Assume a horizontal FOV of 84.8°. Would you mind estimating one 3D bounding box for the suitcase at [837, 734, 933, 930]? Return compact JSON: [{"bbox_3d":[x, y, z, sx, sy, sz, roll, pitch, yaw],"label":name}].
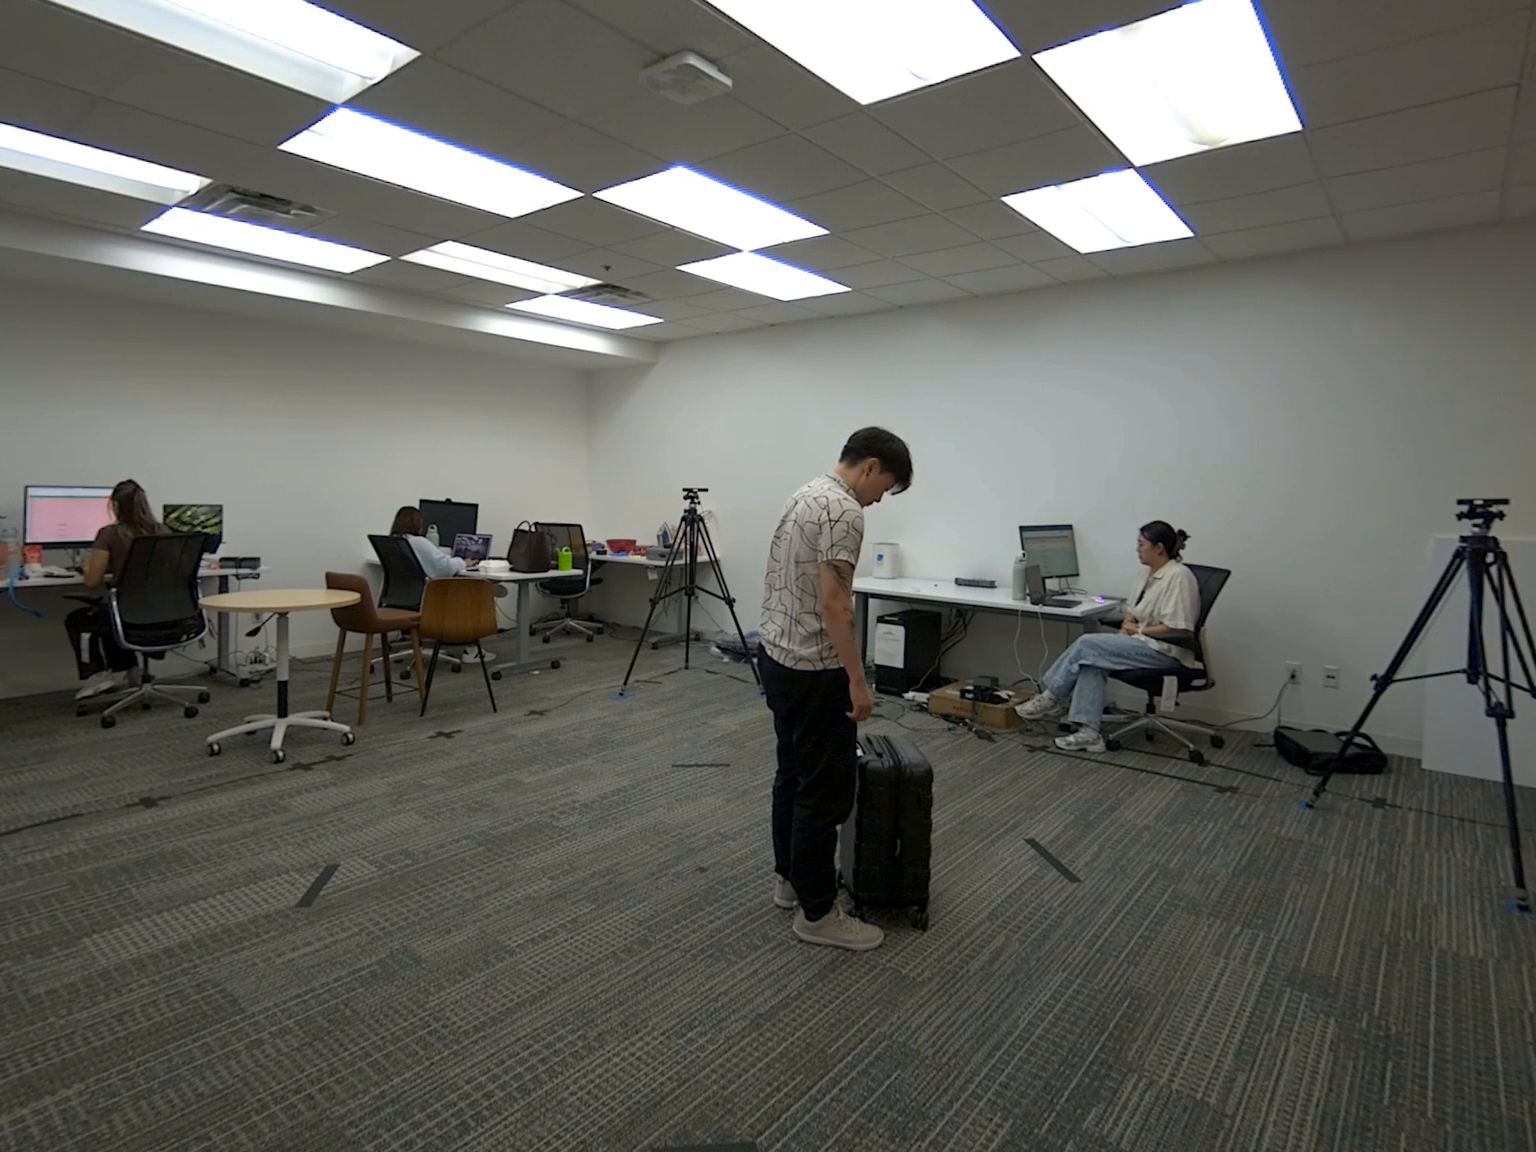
[{"bbox_3d":[0.395,0.833,2.879,0.248,0.548,0.377,3,3,-3],"label":"suitcase"}]
